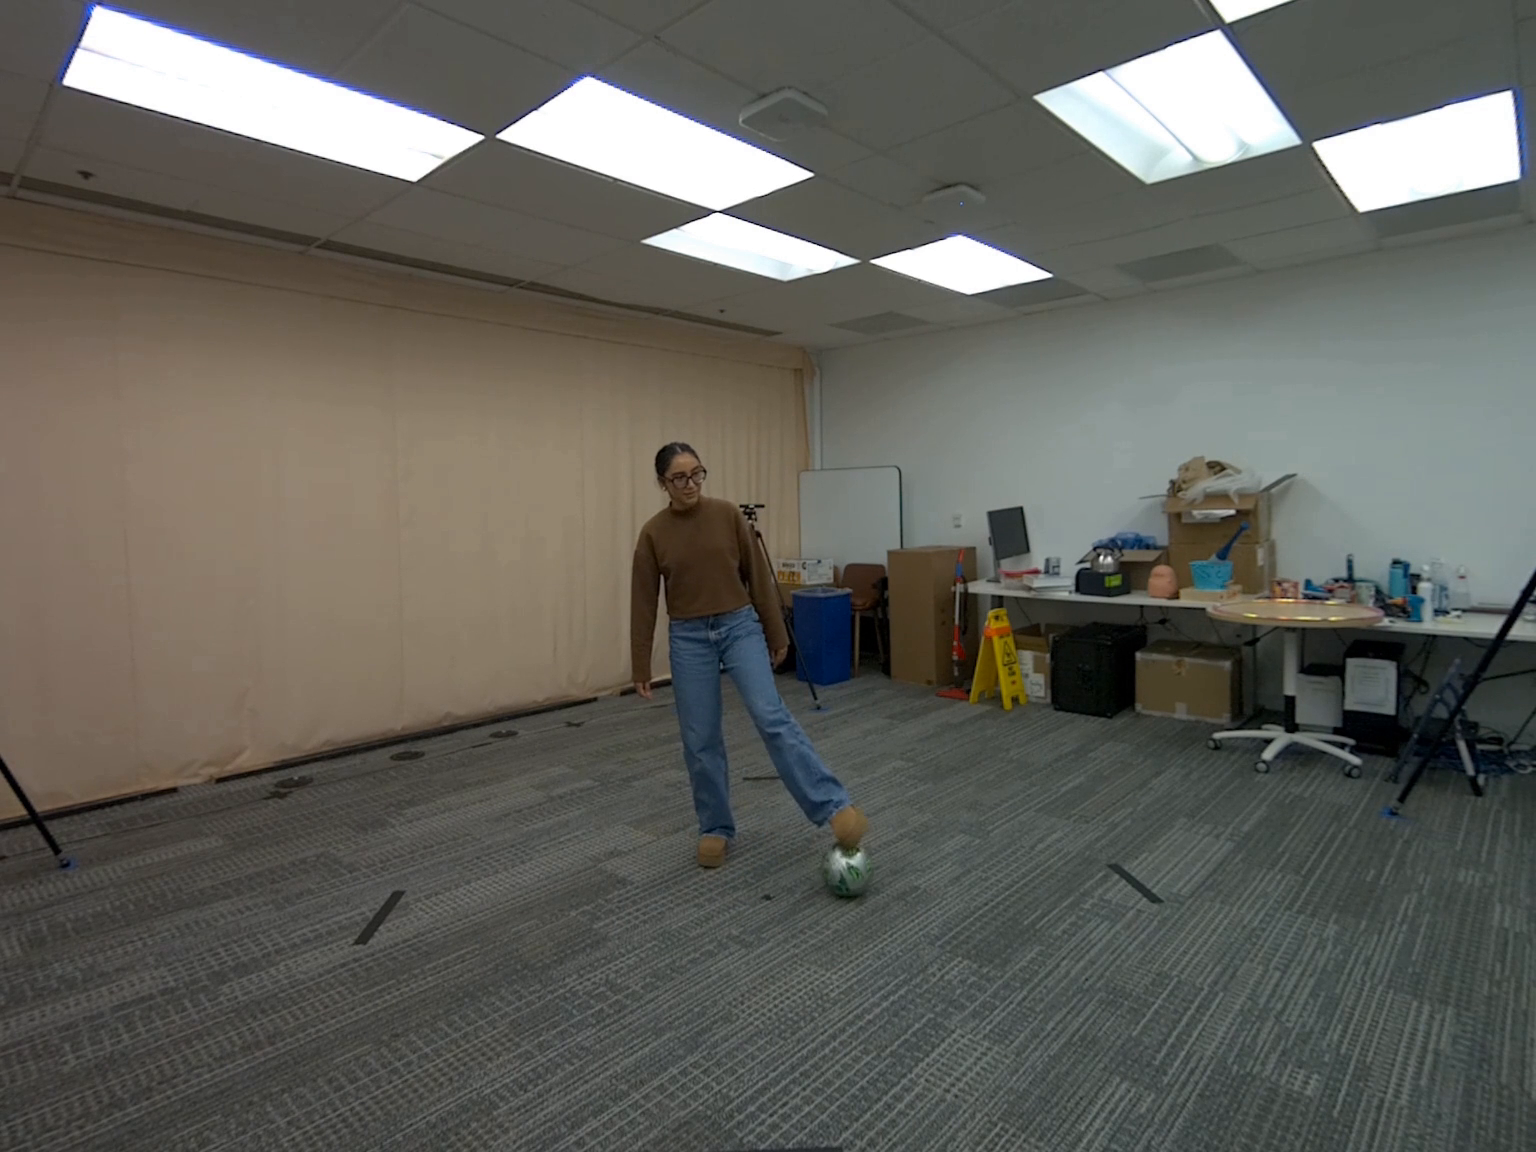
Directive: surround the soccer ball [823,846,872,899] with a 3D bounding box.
[{"bbox_3d":[0.277,1.038,3.004,0.187,0.187,0.188,-1,4,-2],"label":"soccer ball"}]
